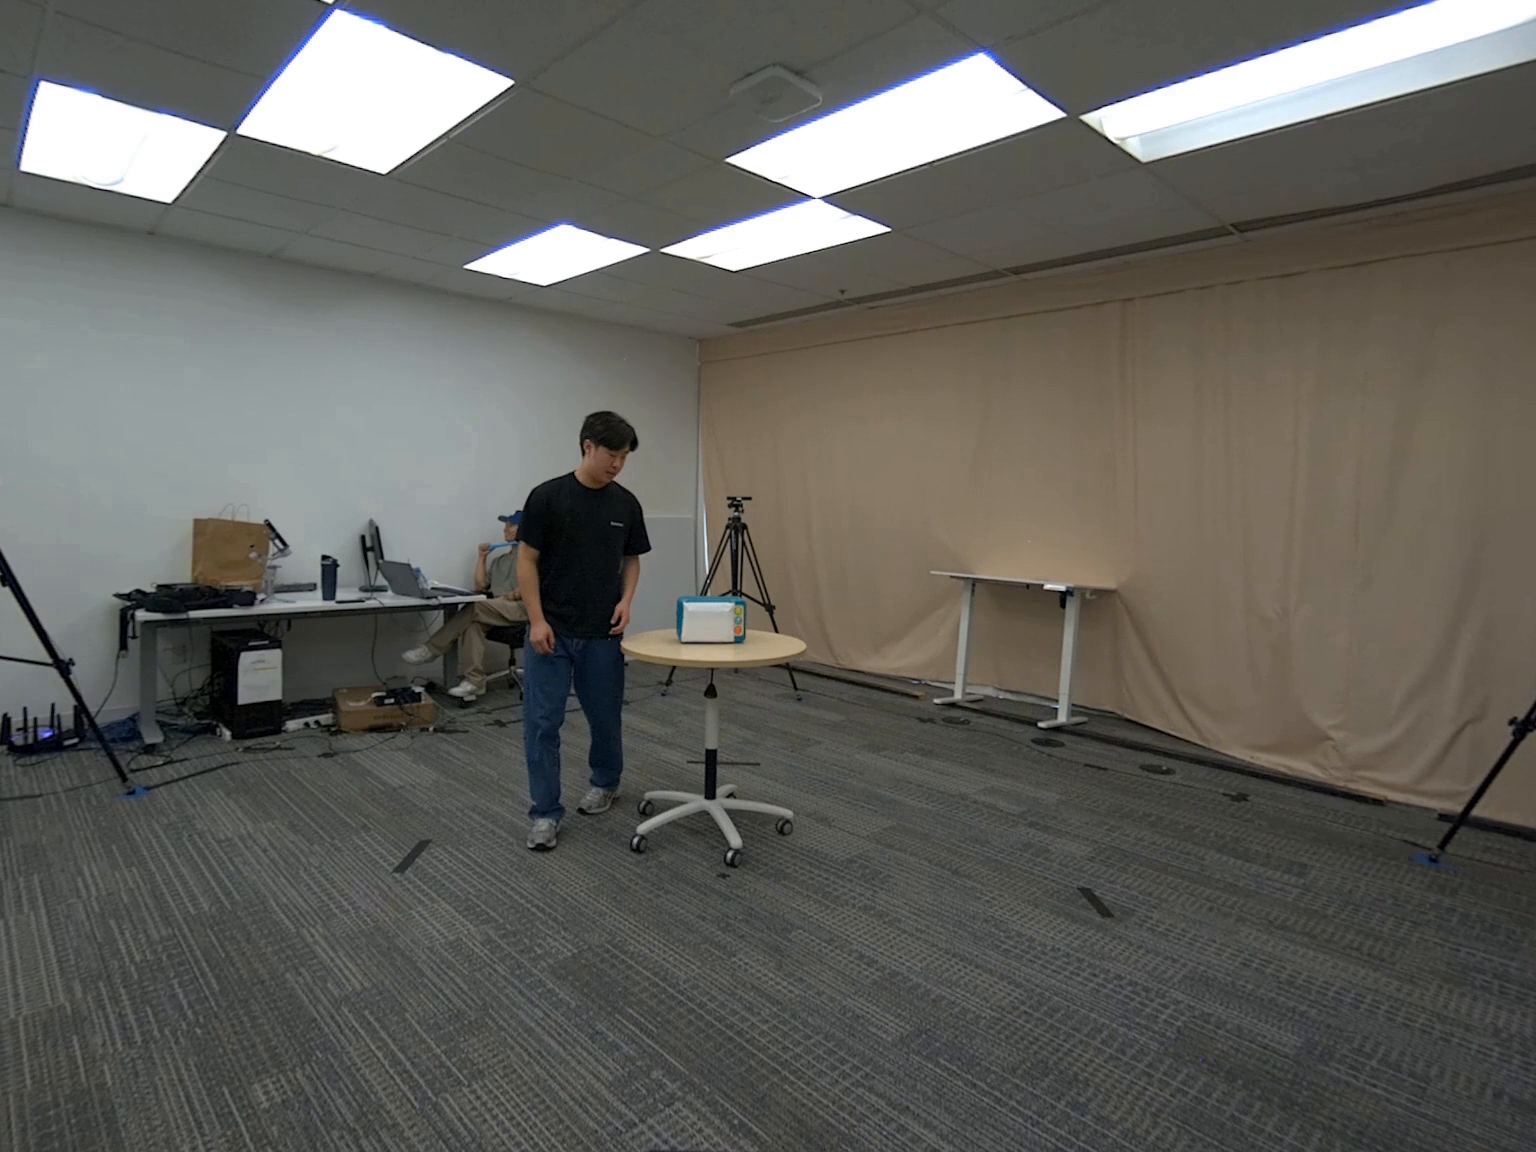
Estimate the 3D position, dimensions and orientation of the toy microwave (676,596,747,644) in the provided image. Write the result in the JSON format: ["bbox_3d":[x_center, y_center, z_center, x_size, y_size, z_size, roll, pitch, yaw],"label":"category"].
[{"bbox_3d":[-0.244,0.181,3.494,0.284,0.184,0.153,1,3,-7],"label":"toy microwave"}]
